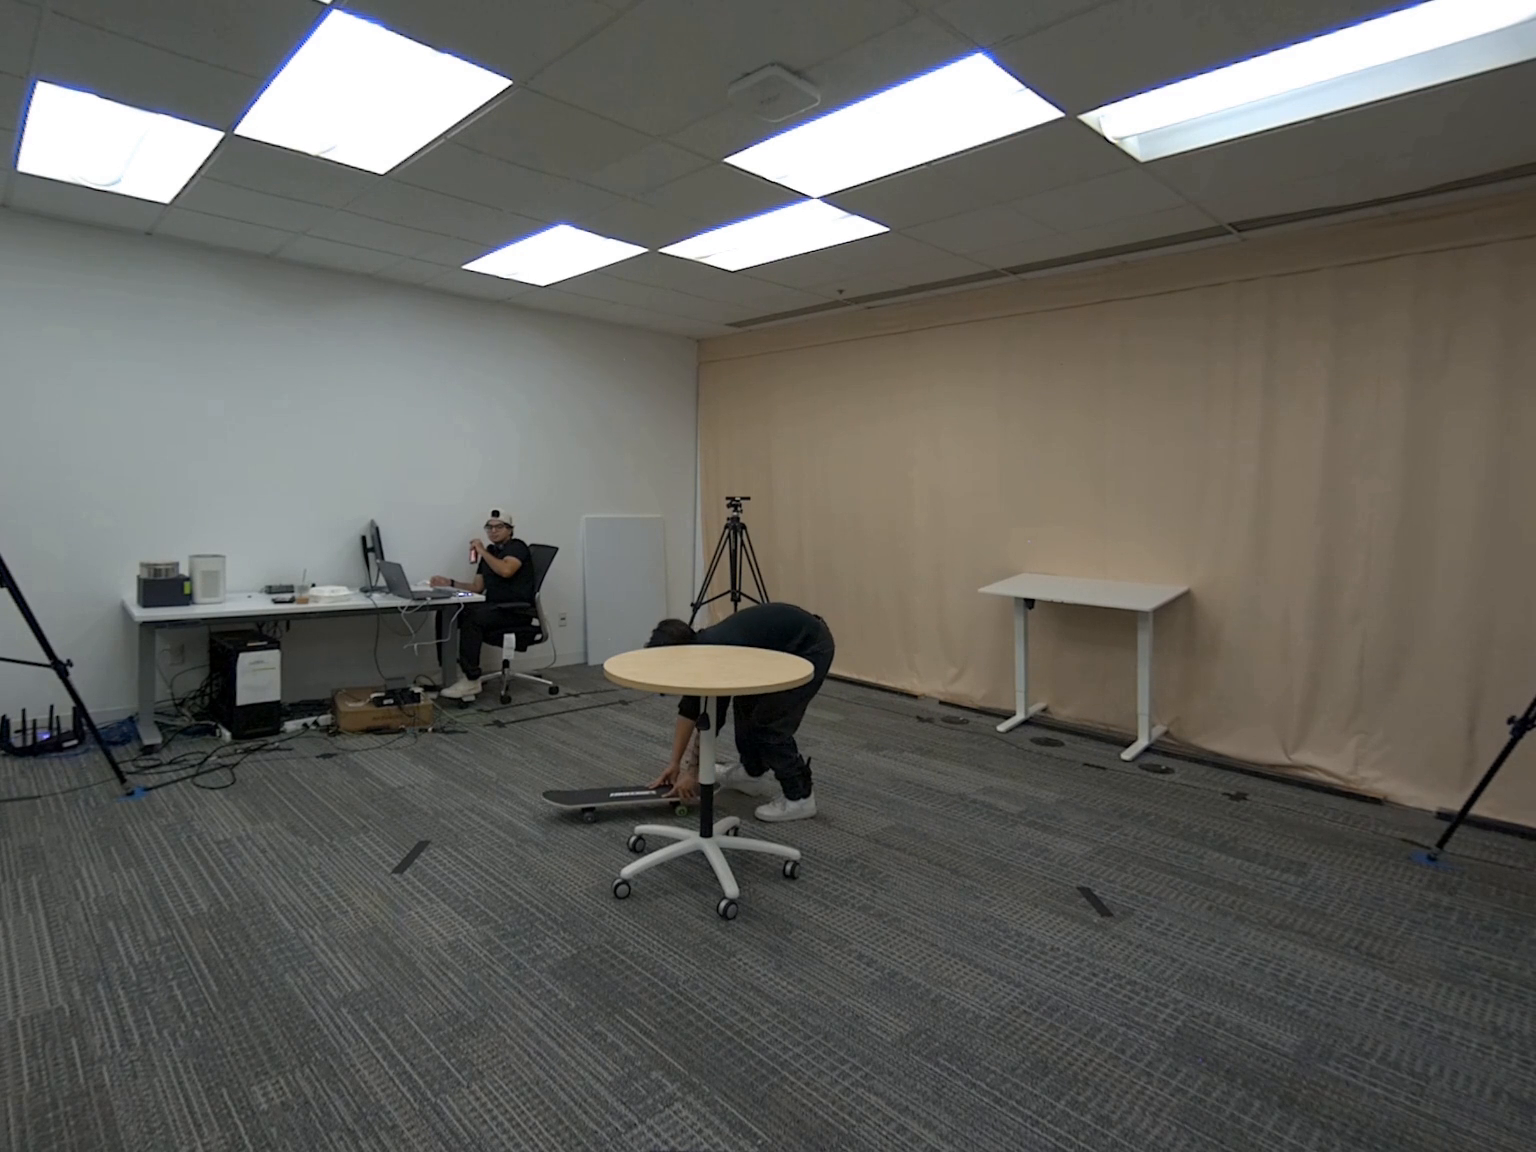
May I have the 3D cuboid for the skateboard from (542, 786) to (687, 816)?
[{"bbox_3d":[-0.602,0.988,3.692,0.776,0.110,0.196,1,5,-15],"label":"skateboard"}]
